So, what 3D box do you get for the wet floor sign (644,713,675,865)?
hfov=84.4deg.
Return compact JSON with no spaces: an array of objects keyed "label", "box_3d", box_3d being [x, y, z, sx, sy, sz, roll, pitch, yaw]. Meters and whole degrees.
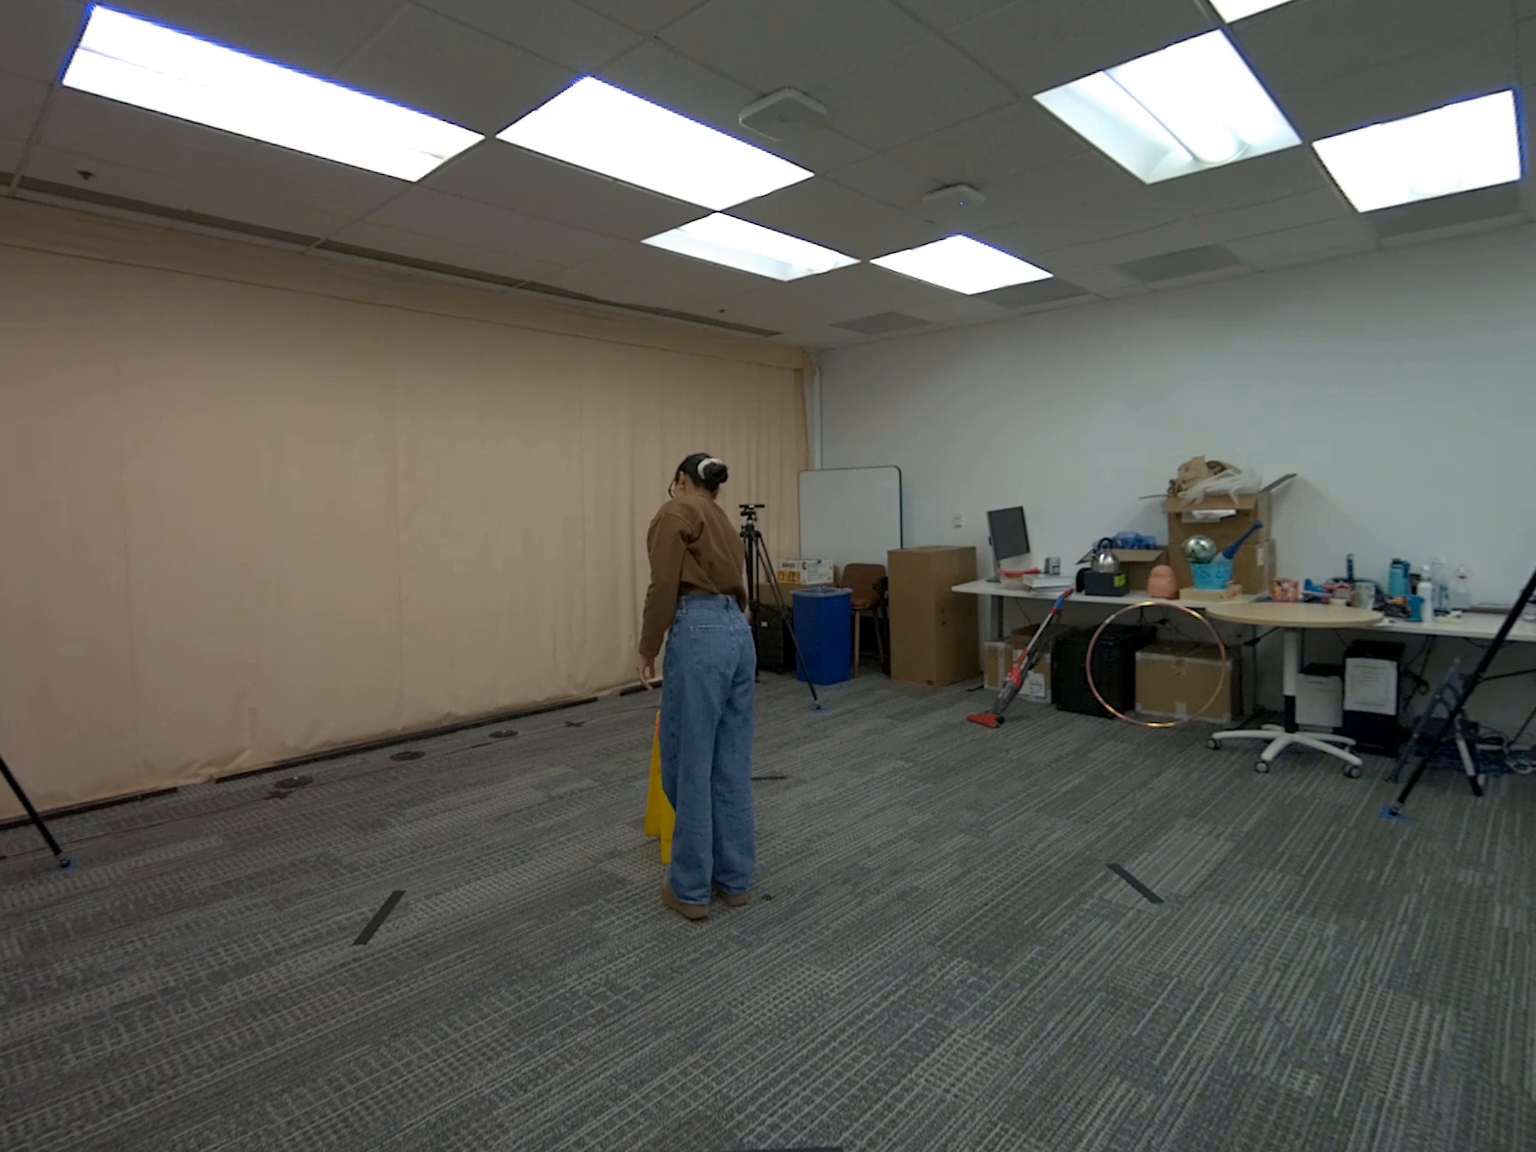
[{"label":"wet floor sign","box_3d":[-0.339,0.773,3.413,0.276,0.643,0.297,-2,7,-22]}]
